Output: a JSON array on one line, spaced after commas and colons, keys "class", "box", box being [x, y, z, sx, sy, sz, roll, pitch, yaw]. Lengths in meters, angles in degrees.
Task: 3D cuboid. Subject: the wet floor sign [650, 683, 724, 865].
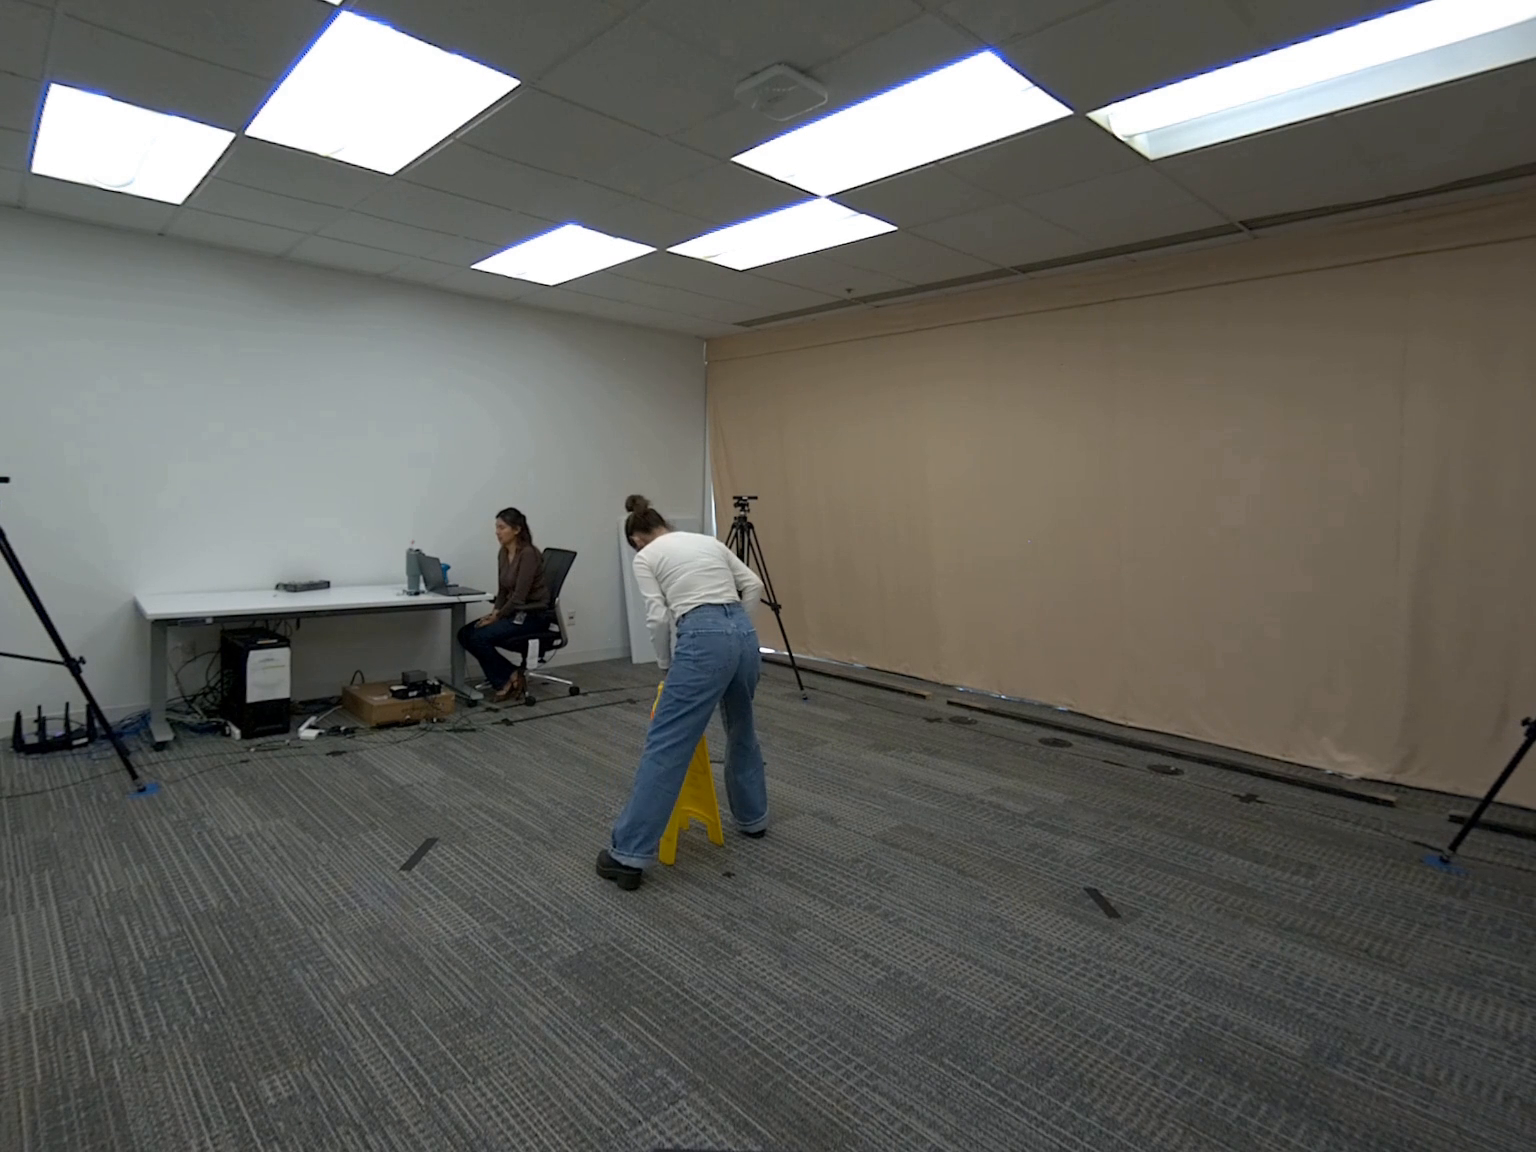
[{"class": "wet floor sign", "box": [-0.369, 0.758, 3.352, 0.289, 0.645, 0.283, 4, 4, 42]}]
